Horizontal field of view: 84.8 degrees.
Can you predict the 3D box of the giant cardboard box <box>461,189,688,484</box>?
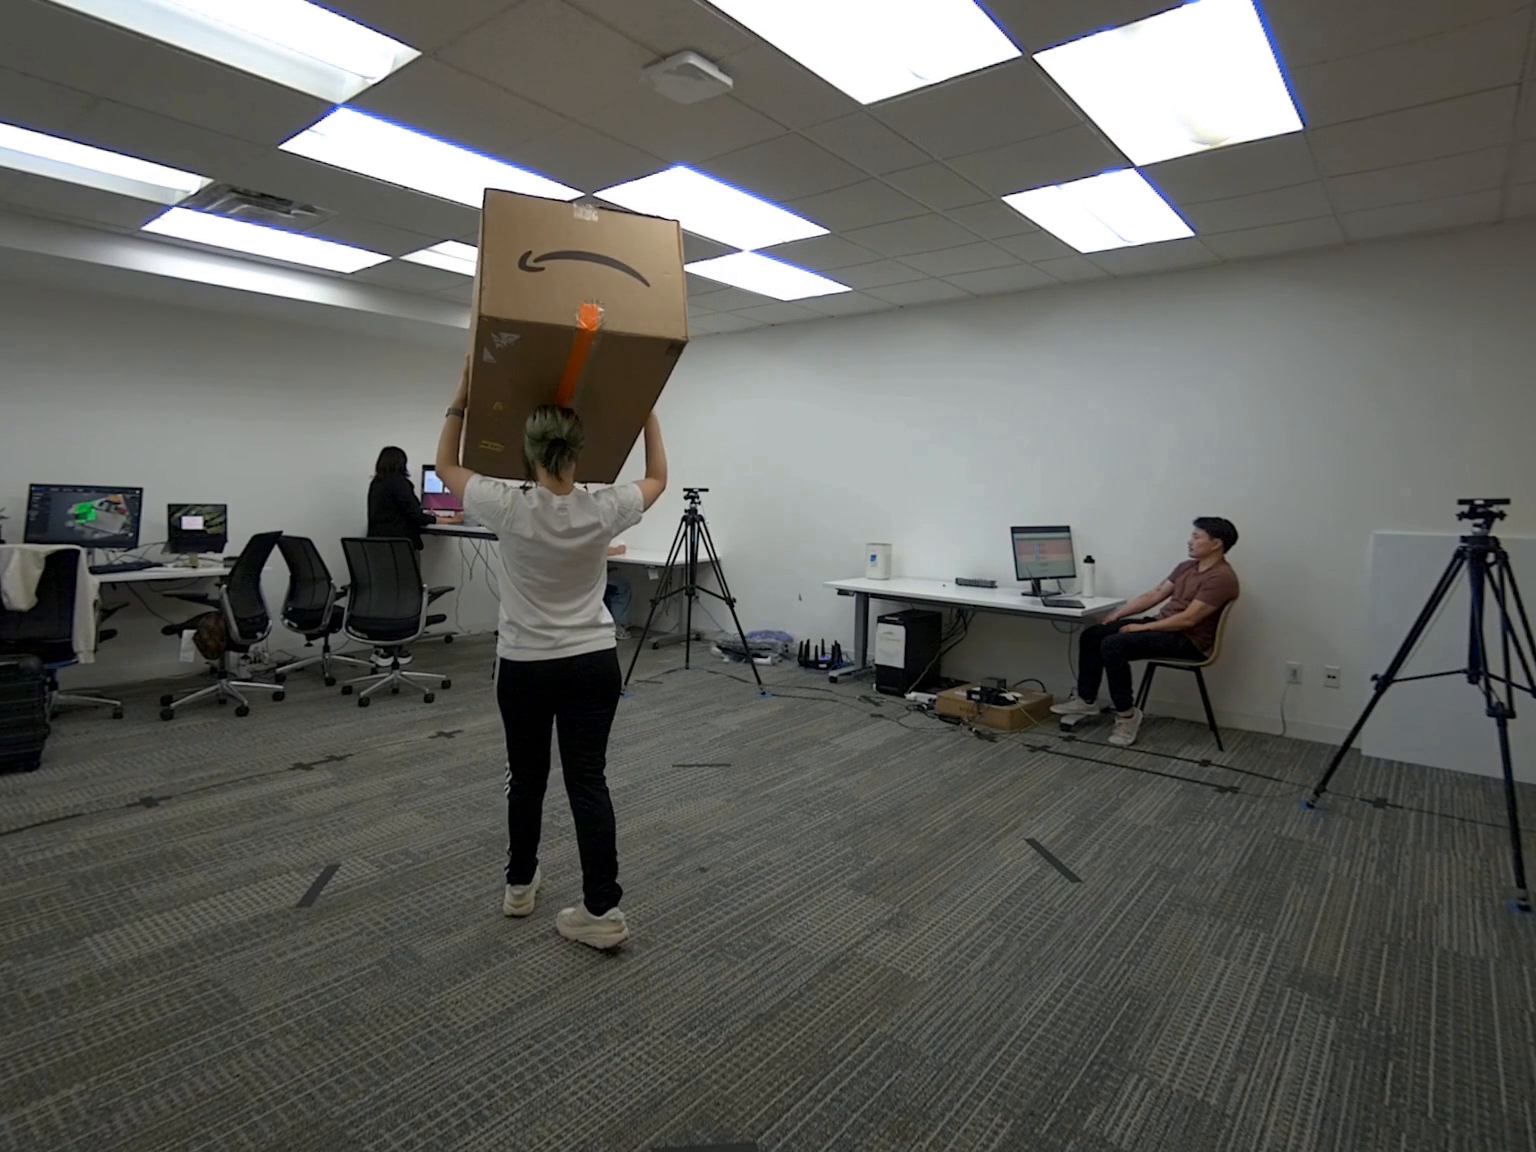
[{"bbox_3d":[-0.705,-0.716,2.826,0.572,0.455,1.029,2,-19,-21],"label":"giant cardboard box"}]
